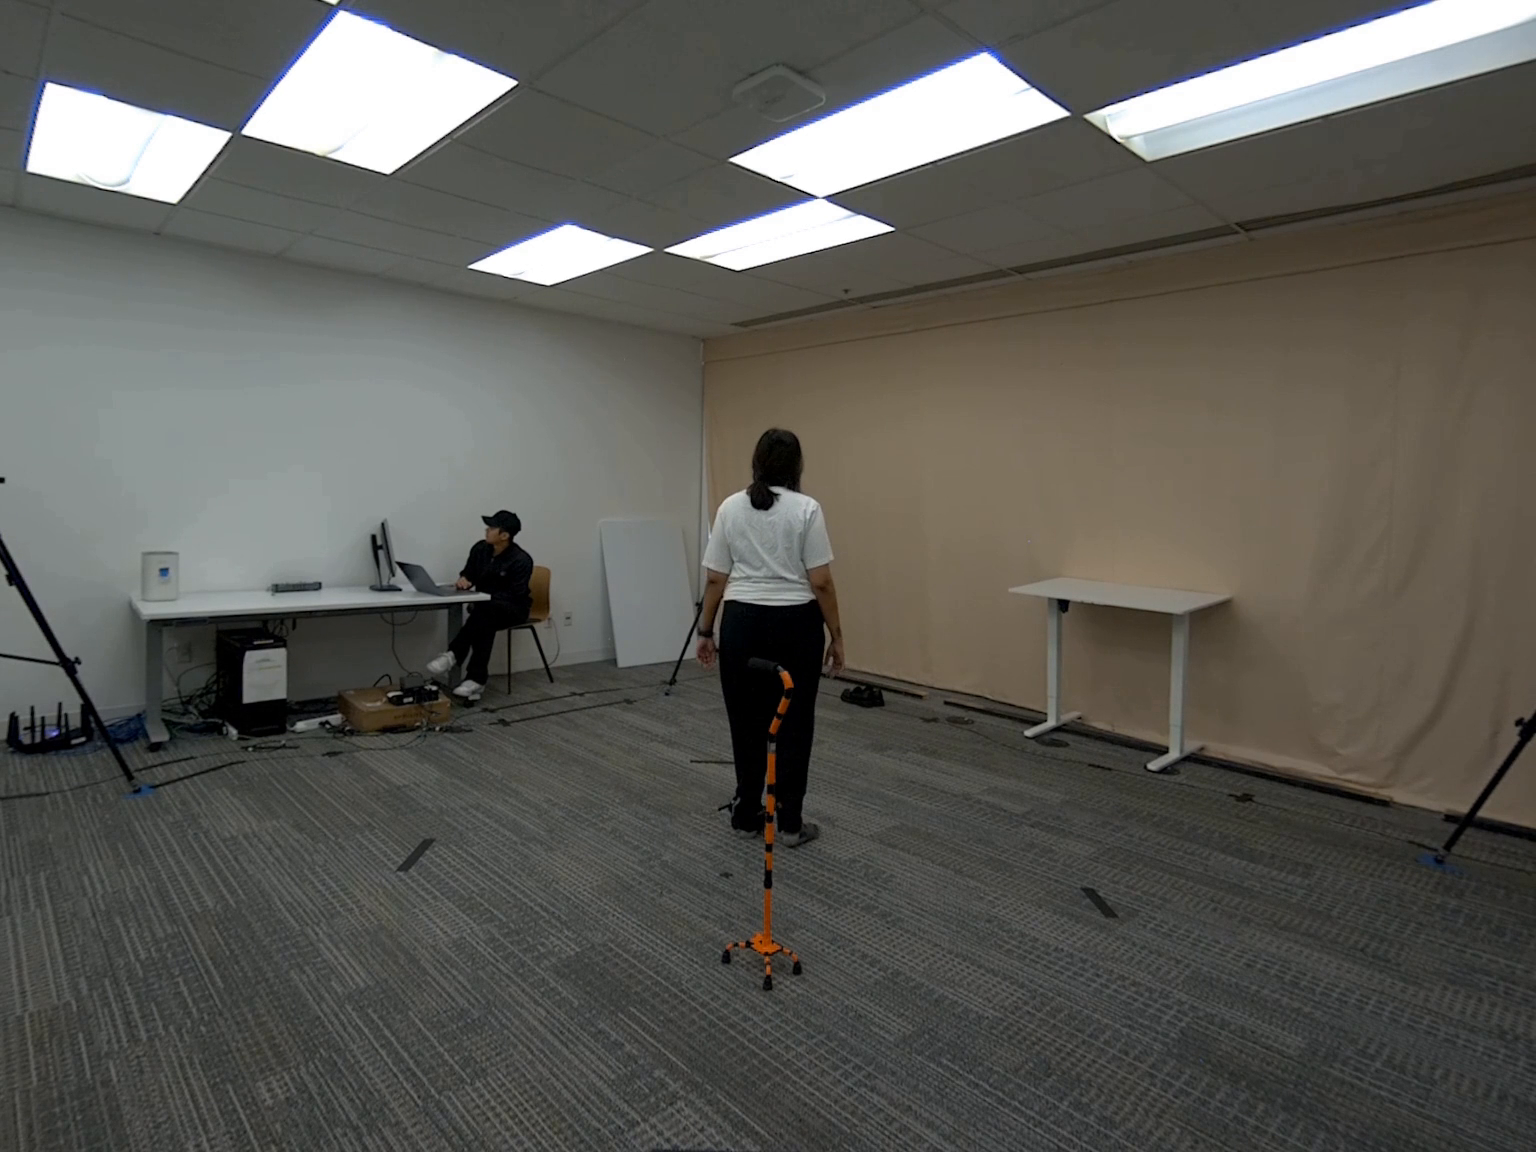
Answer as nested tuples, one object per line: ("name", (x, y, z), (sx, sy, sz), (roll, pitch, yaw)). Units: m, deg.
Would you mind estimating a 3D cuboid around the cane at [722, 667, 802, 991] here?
("cane", (-0.010, 0.716, 2.465), (0.148, 0.905, 0.212), (-1, 5, -44))
